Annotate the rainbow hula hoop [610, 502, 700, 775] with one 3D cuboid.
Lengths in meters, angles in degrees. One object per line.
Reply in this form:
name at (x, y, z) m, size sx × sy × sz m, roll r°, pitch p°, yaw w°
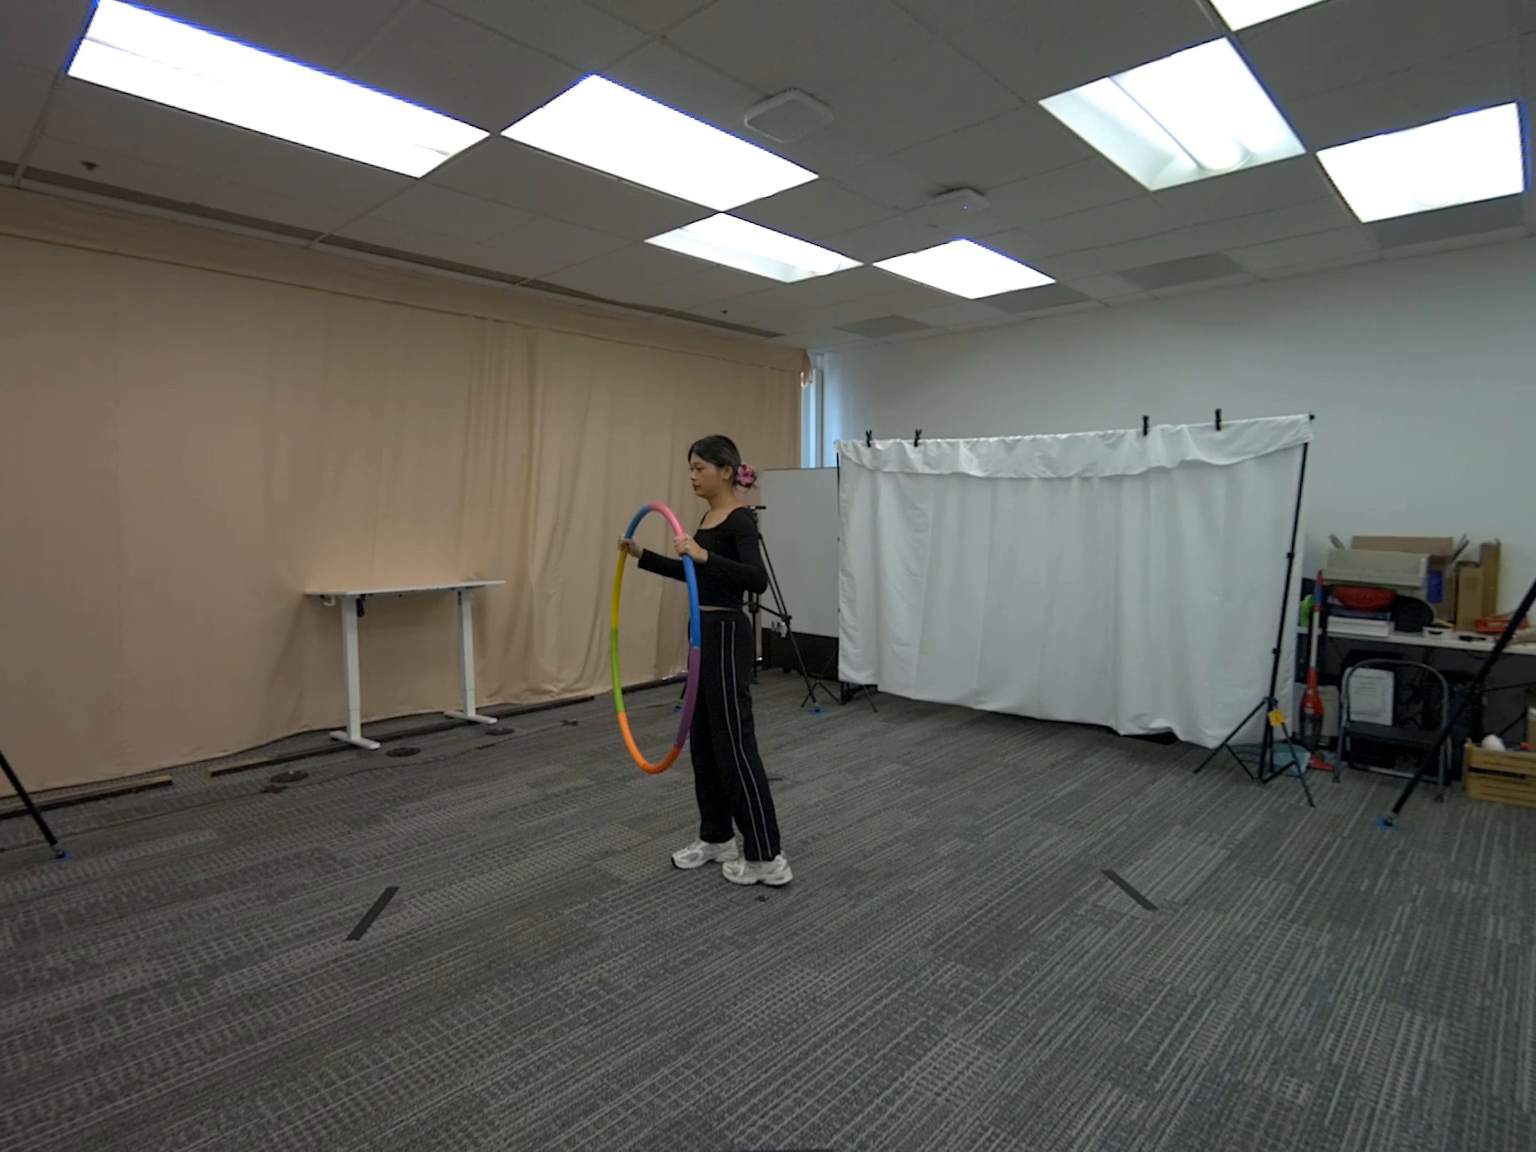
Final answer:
rainbow hula hoop at (-0.434, 0.223, 3.144) m, size 0.035 × 0.977 × 1.003 m, roll 3°, pitch 2°, yaw -25°
